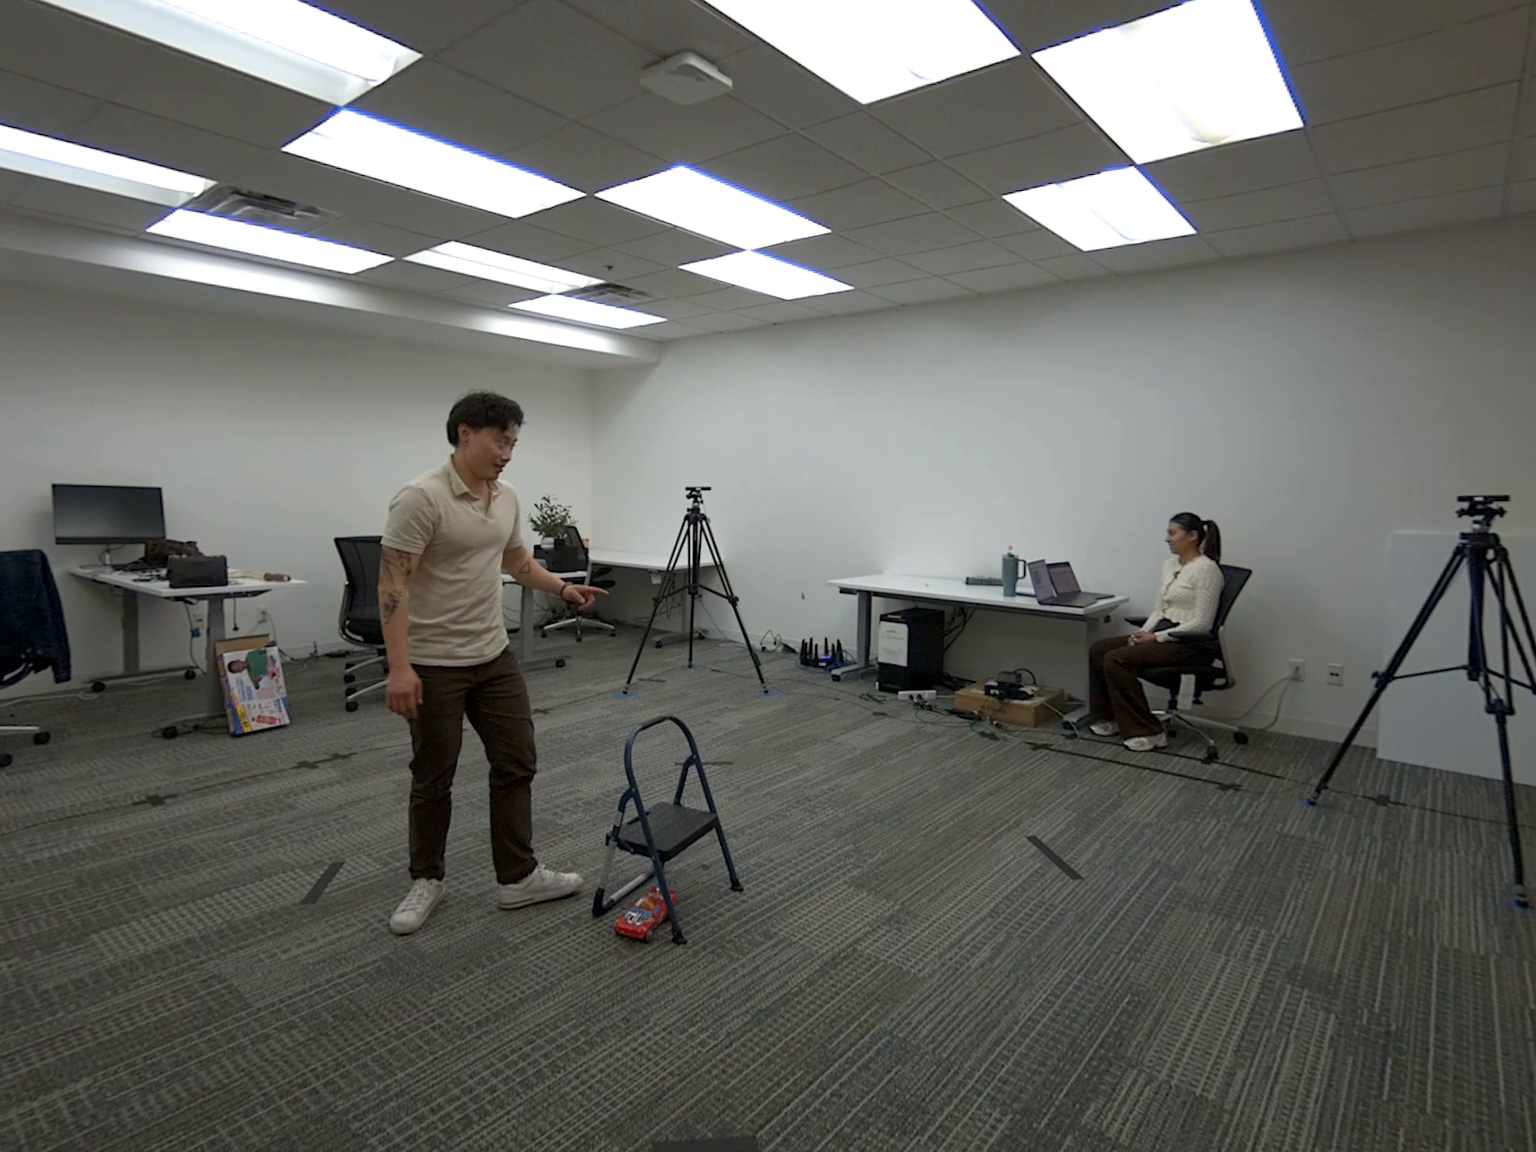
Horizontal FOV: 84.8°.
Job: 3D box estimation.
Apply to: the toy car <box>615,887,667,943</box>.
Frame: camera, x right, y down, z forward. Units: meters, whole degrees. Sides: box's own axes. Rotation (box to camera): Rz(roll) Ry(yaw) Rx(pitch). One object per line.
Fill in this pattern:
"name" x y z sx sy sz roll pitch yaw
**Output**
"toy car" -0.389 1.075 2.702 0.133 0.082 0.252 3 16 23
